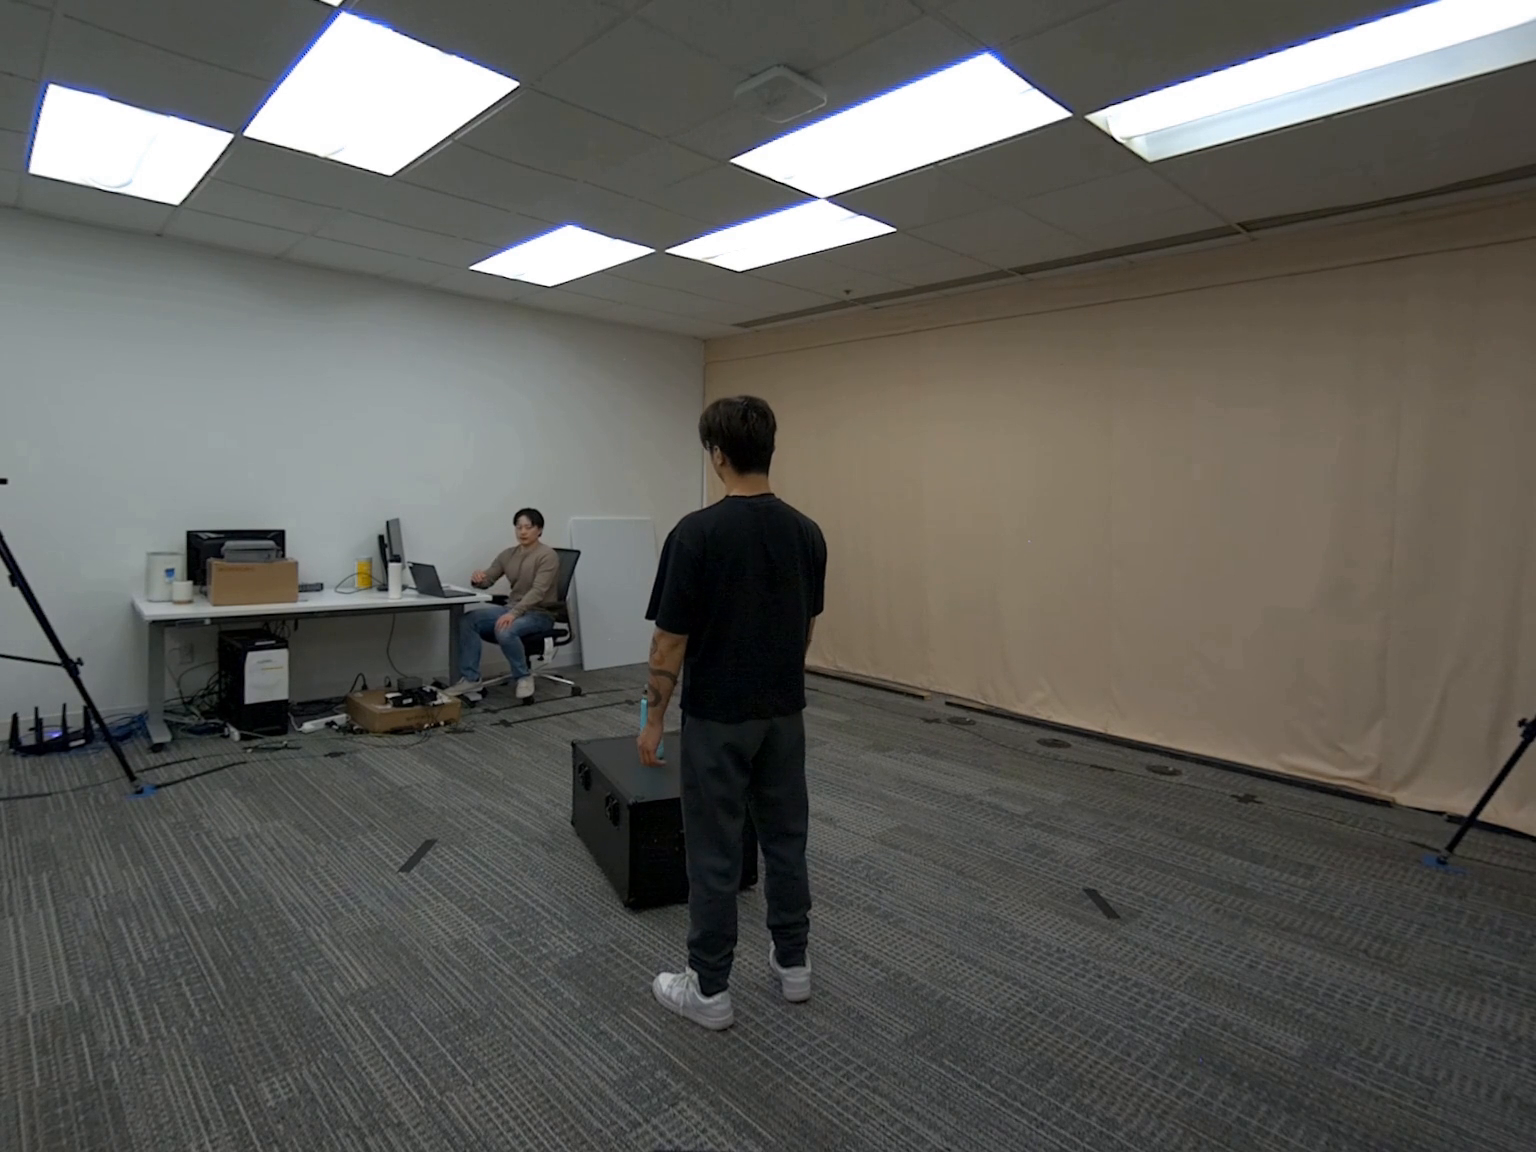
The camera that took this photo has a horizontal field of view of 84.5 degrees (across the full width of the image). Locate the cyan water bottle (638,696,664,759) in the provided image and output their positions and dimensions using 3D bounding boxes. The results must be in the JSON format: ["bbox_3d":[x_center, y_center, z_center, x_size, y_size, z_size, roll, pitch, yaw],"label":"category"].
[{"bbox_3d":[-0.458,0.574,3.305,0.092,0.283,0.092,2,2,-1],"label":"cyan water bottle"}]
